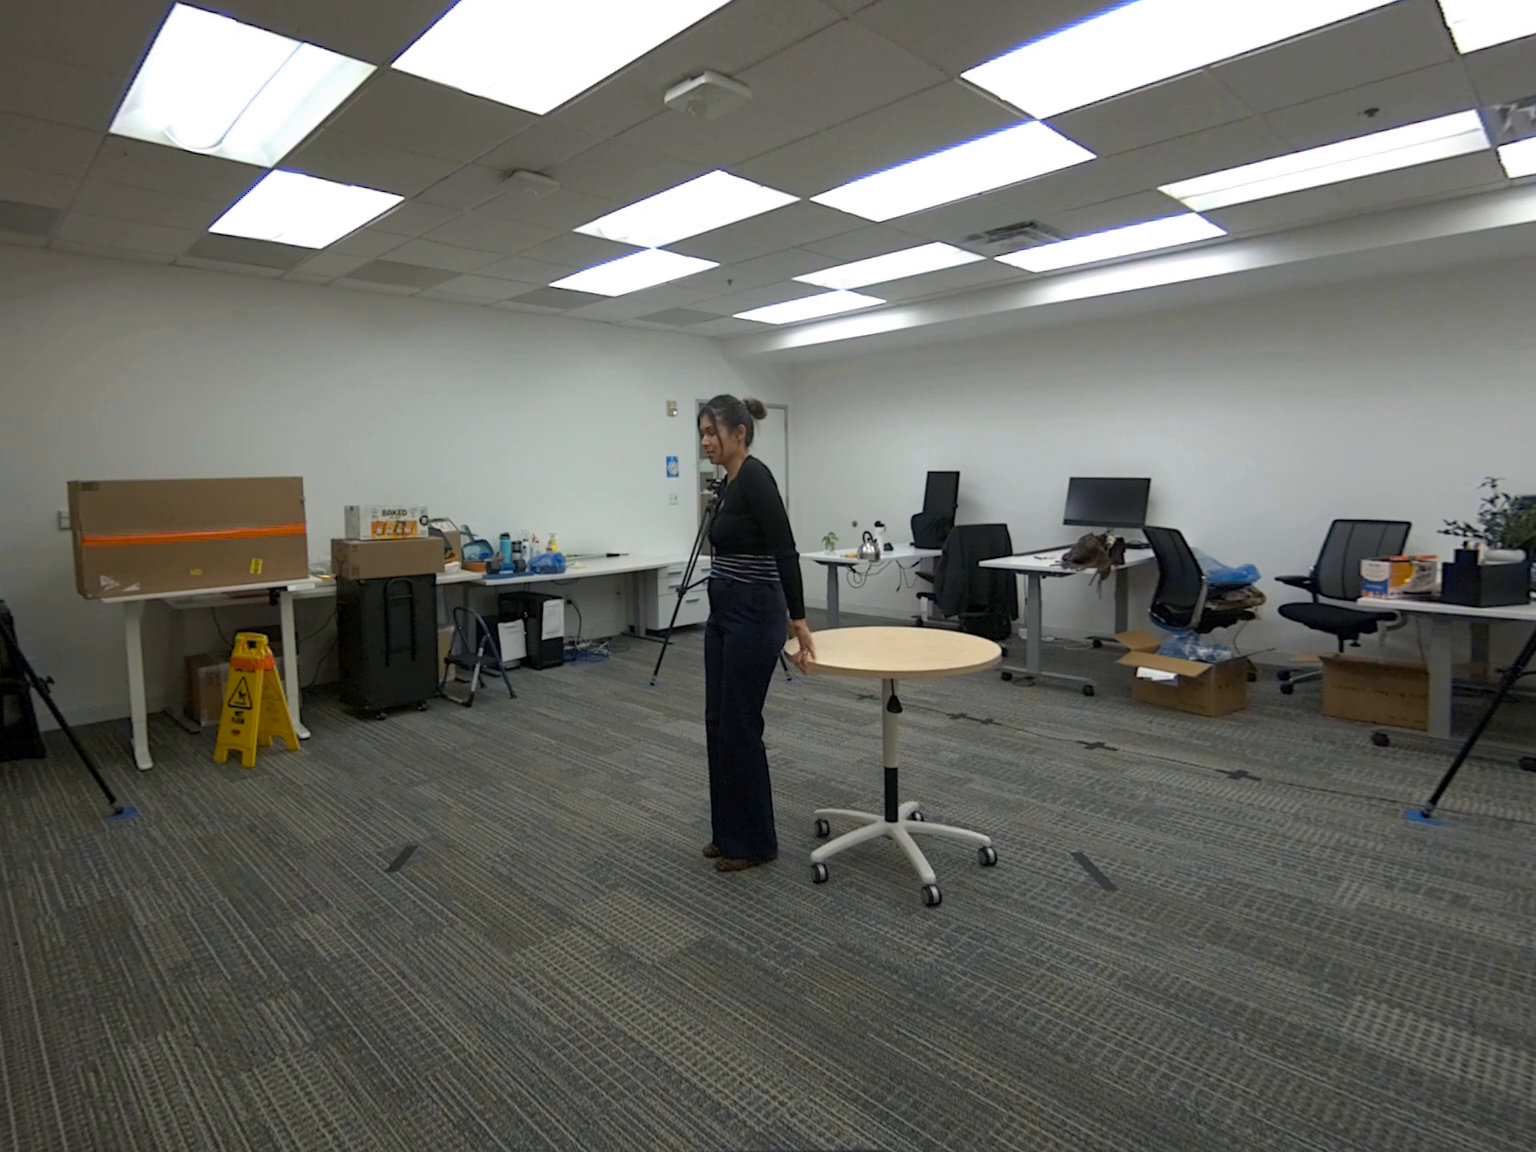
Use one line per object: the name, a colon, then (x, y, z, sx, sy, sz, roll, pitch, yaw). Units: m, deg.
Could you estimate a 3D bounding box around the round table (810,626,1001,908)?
round table: (0.454, 0.642, 3.102, 0.763, 0.791, 0.768, -1, 5, -2)
